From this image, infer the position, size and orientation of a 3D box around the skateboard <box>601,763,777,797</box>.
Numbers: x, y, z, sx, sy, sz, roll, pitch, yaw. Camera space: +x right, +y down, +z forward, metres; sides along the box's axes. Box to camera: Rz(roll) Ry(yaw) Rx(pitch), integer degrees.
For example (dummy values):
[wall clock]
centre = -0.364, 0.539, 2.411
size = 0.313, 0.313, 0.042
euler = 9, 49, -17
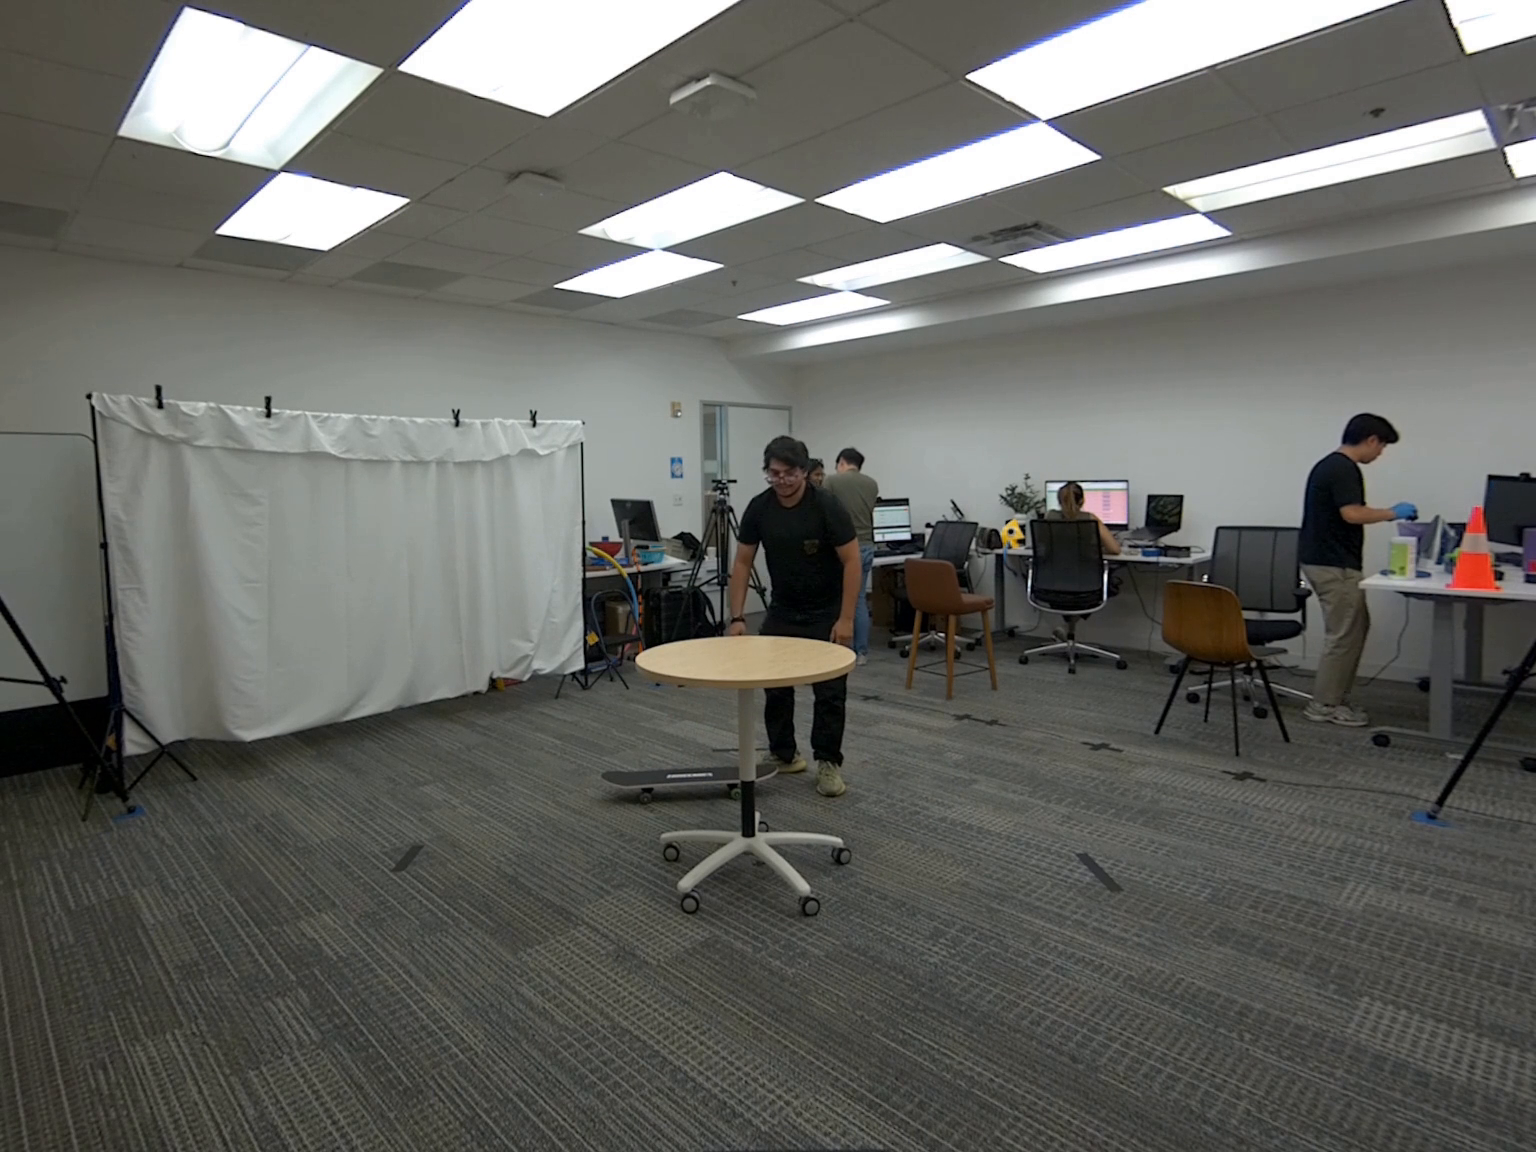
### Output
[skateboard]
centre = -0.345, 0.921, 3.803
size = 0.783, 0.110, 0.195
euler = -2, 6, -4
